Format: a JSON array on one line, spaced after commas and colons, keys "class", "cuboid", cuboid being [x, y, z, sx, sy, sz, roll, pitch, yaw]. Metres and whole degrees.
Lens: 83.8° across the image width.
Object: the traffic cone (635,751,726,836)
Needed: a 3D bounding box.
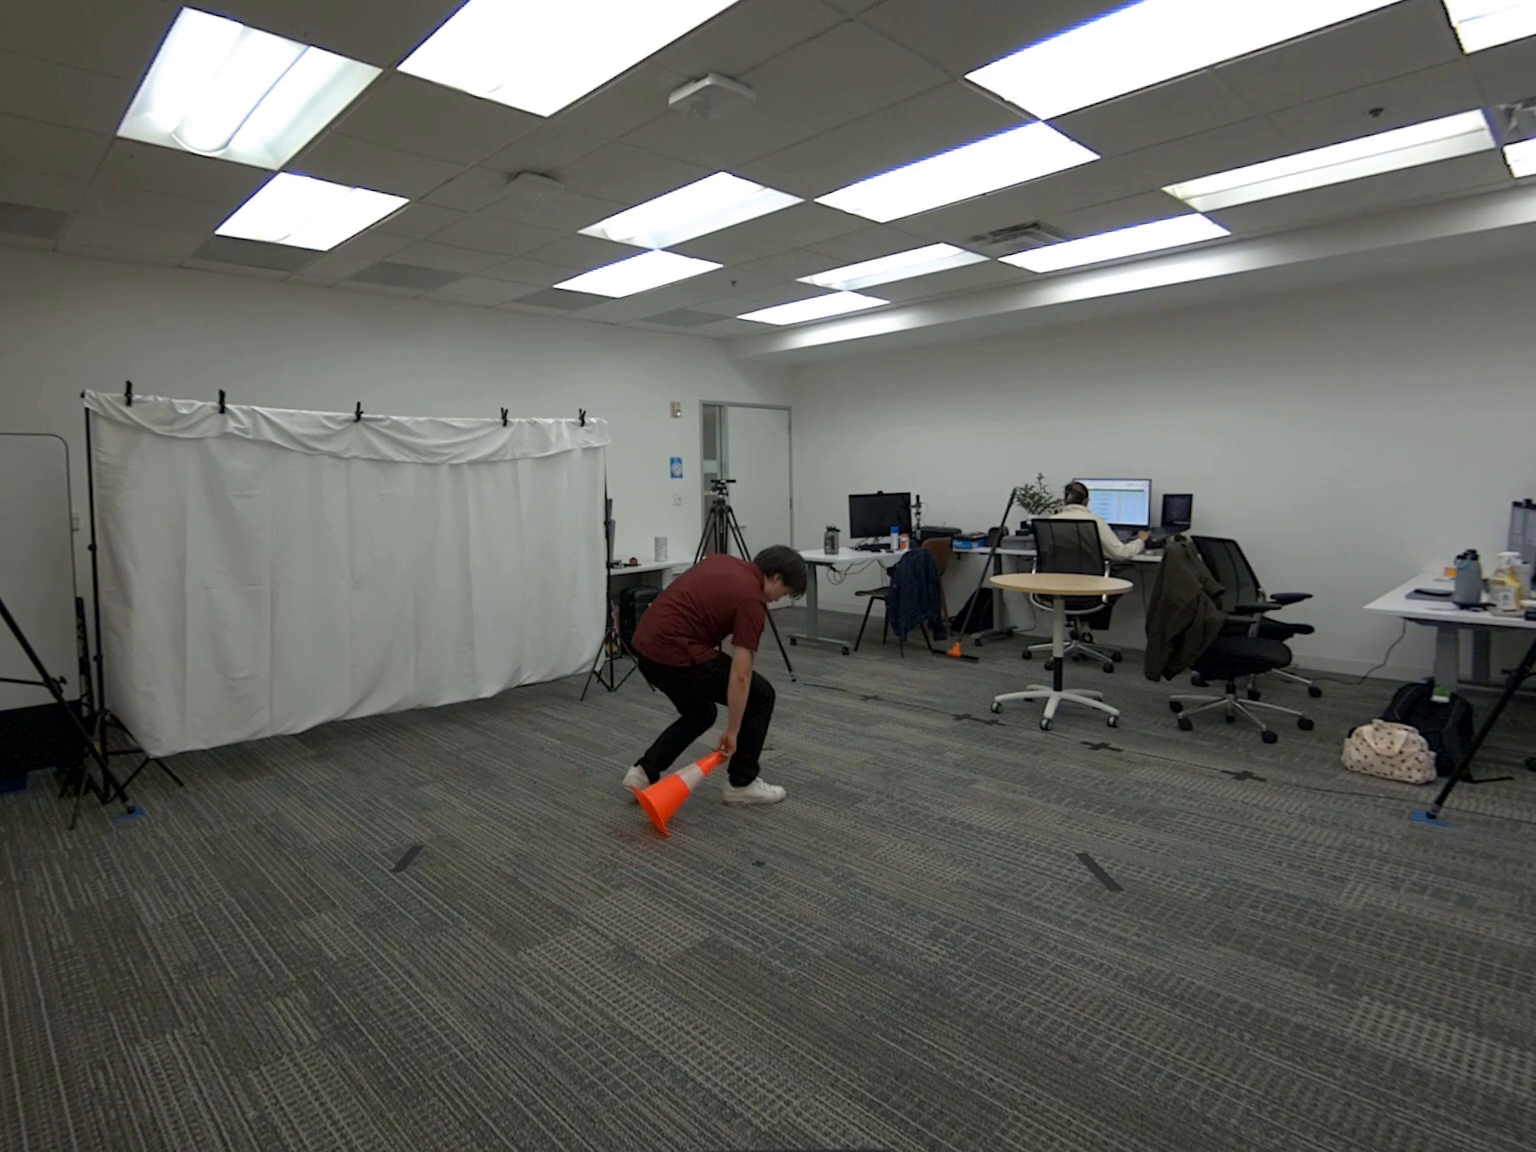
[{"class": "traffic cone", "cuboid": [-0.339, 0.841, 3.490, 0.381, 0.199, 0.210, -33, 19, -26]}]
